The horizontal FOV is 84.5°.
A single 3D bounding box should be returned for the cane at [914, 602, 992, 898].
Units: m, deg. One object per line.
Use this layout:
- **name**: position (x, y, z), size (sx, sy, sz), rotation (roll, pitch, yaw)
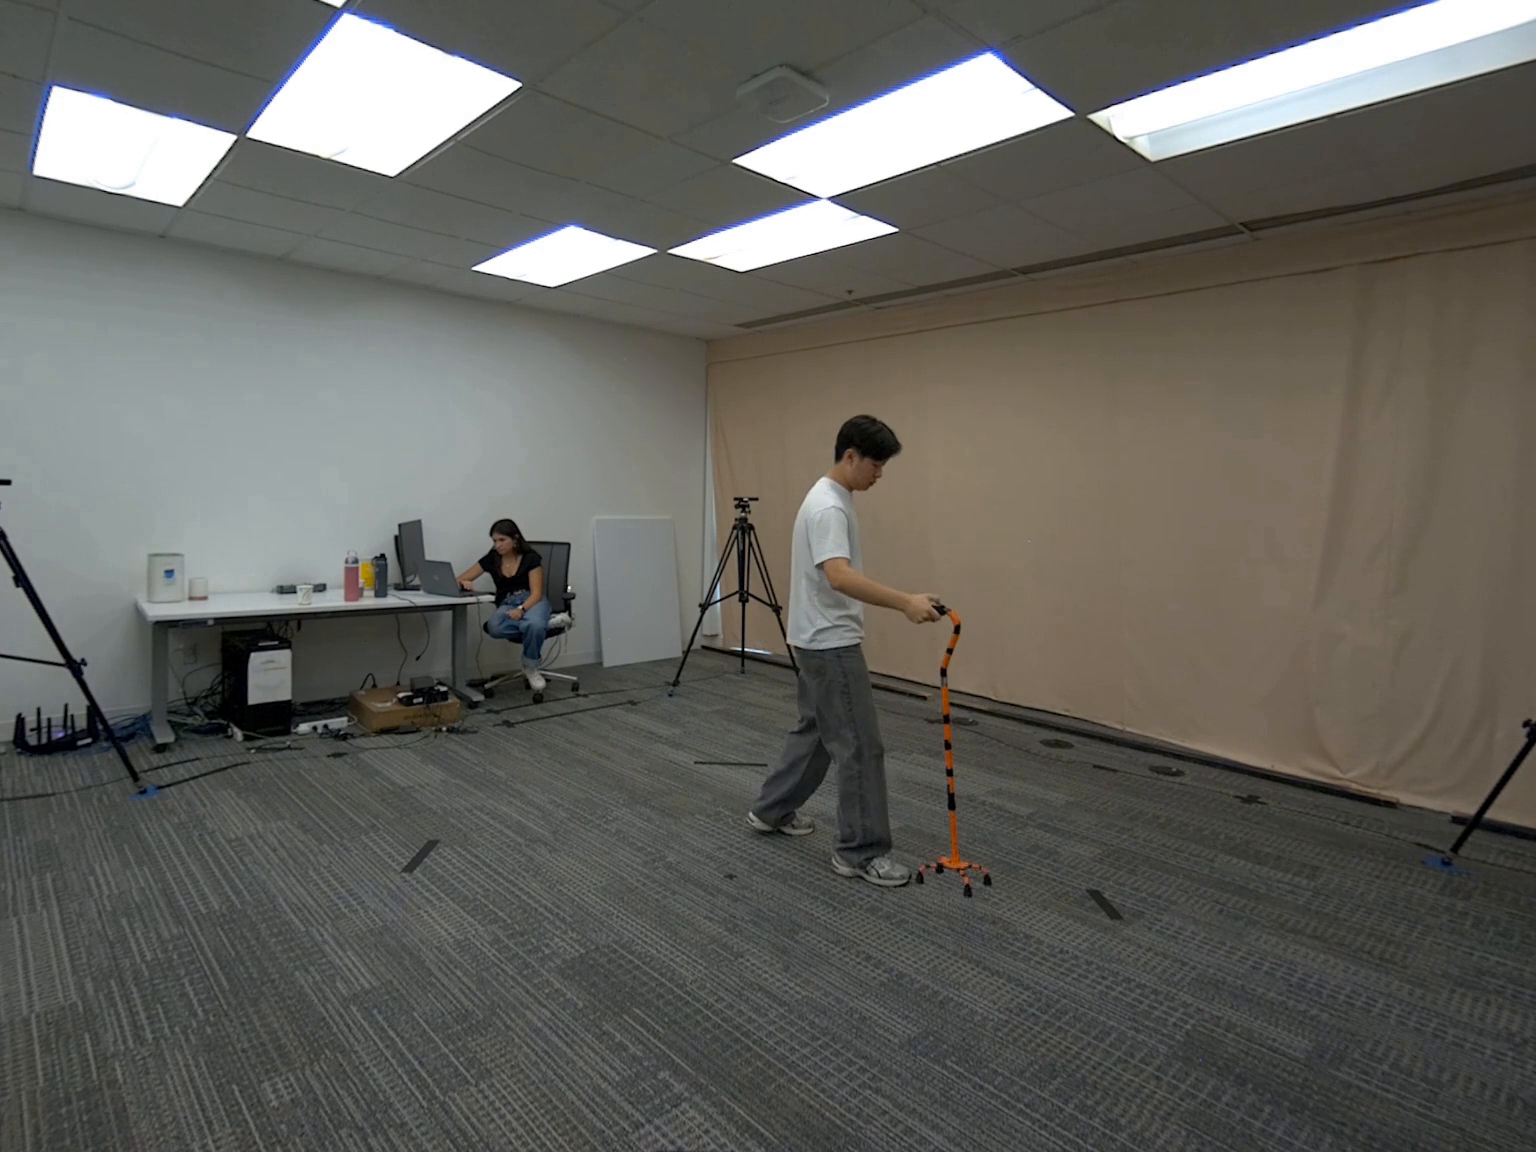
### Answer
- **cane**: position (0.575, 0.563, 2.773), size (0.211, 0.909, 0.148), rotation (-5, -2, 42)
